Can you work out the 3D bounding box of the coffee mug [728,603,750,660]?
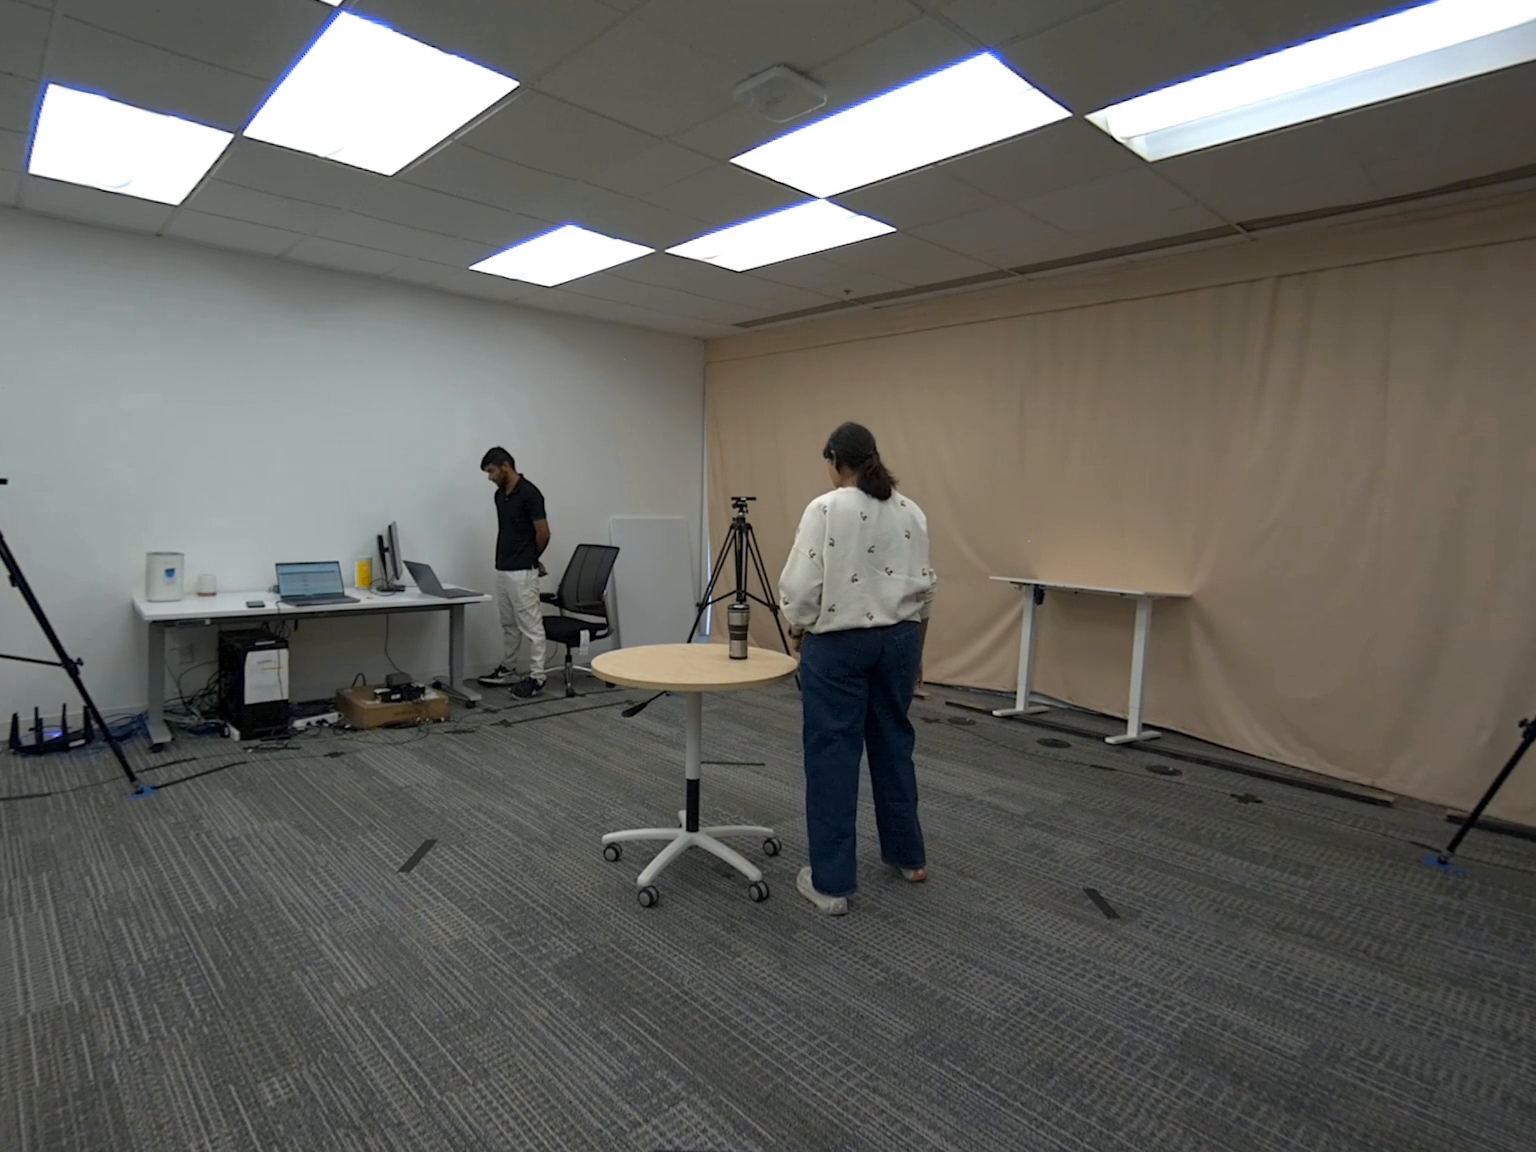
[{"bbox_3d":[-0.119,0.217,3.181,0.087,0.203,0.122,5,2,-5],"label":"coffee mug"}]
